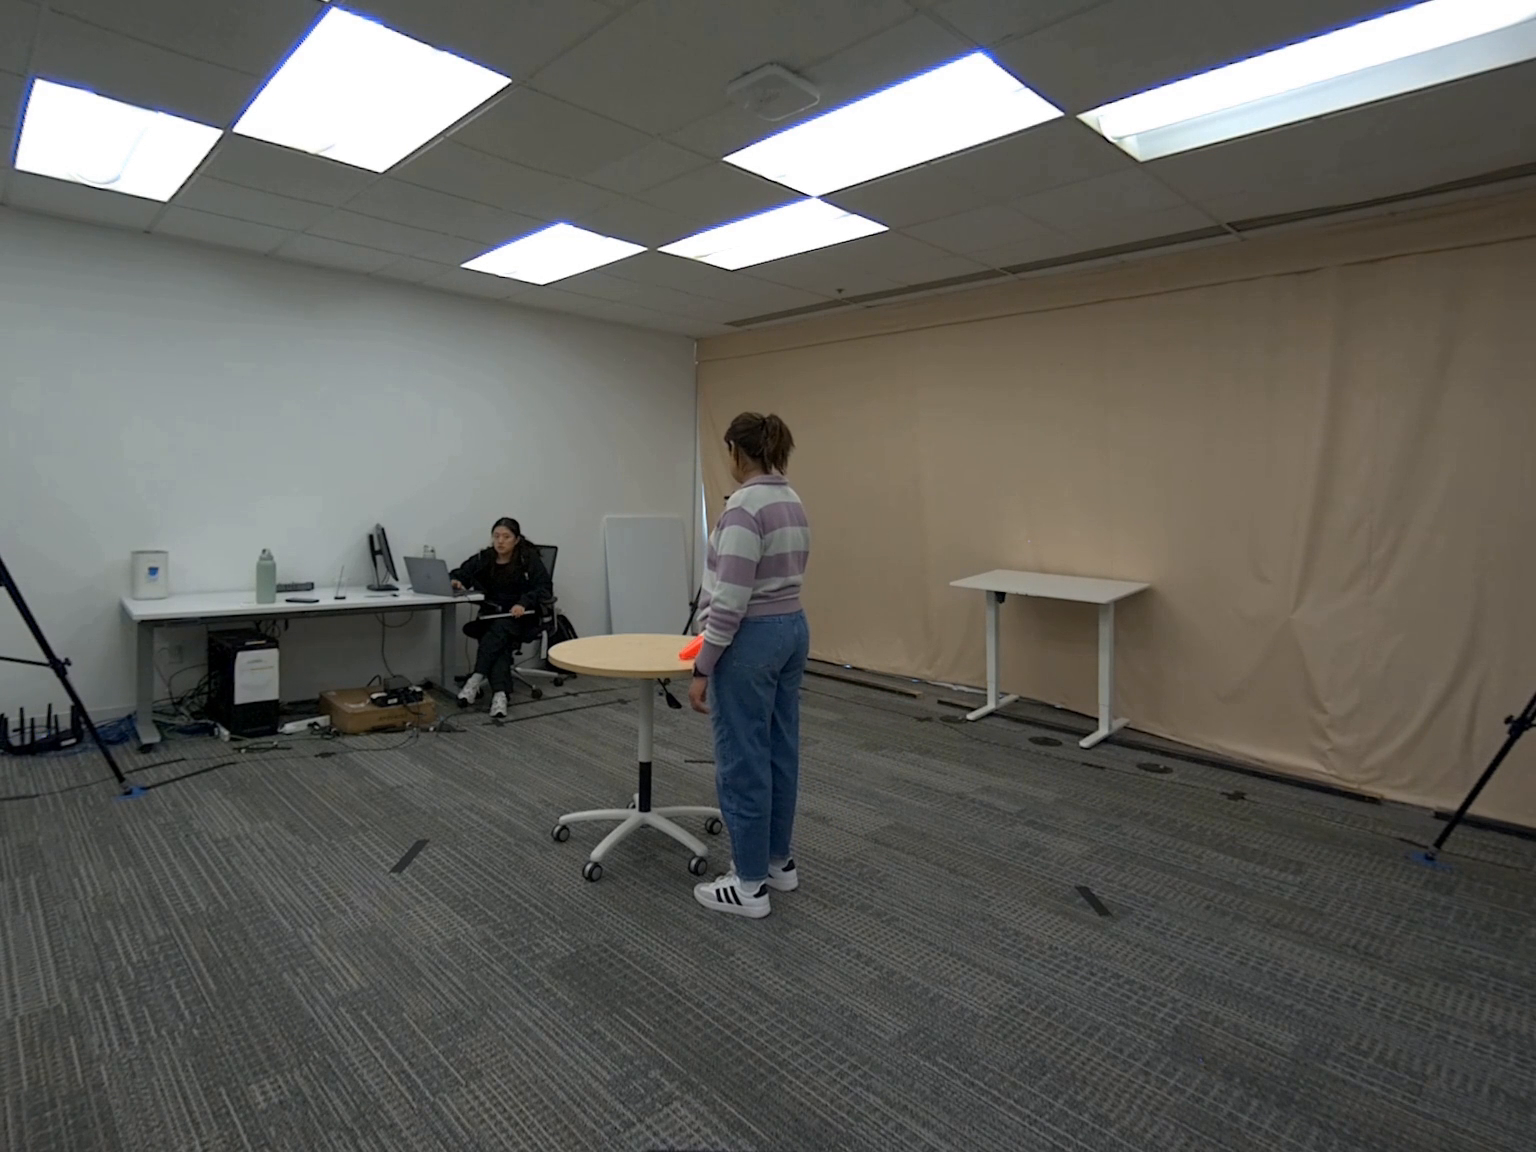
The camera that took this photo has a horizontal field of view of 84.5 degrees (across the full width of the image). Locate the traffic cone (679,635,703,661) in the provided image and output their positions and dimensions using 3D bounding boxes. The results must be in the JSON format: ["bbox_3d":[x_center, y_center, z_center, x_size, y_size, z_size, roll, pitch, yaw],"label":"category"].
[{"bbox_3d":[-0.225,0.250,3.276,0.210,0.201,0.378,10,20,36],"label":"traffic cone"}]
